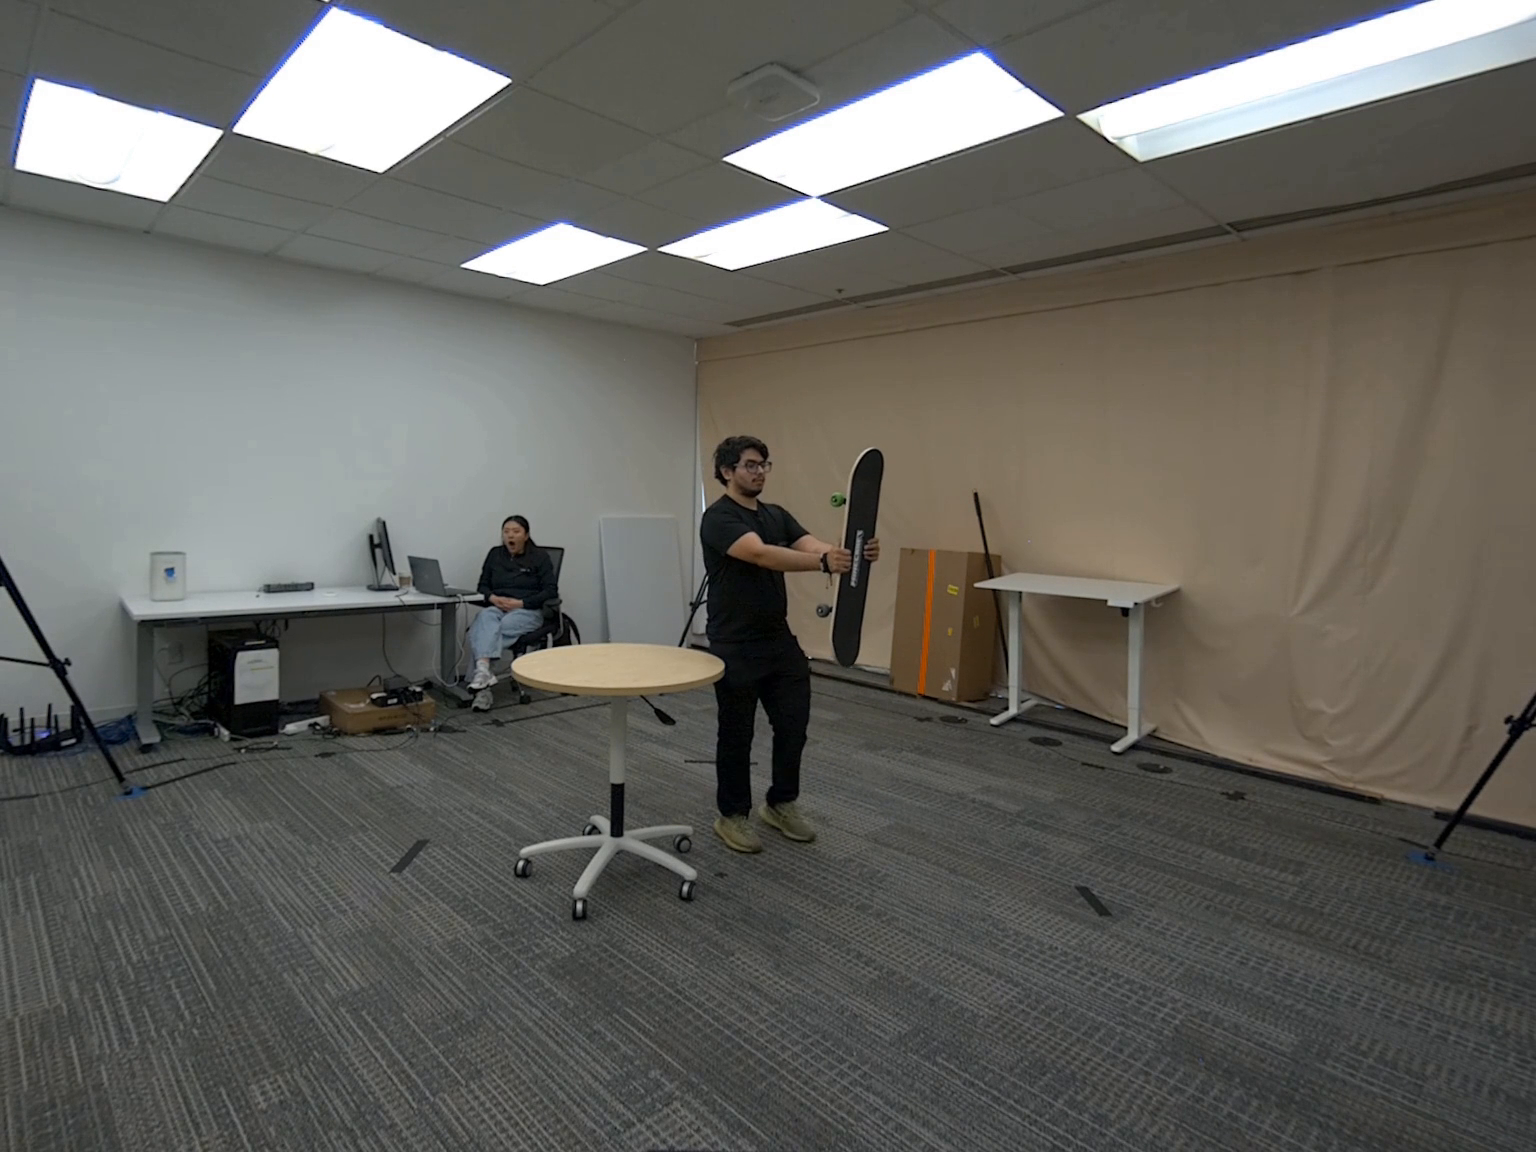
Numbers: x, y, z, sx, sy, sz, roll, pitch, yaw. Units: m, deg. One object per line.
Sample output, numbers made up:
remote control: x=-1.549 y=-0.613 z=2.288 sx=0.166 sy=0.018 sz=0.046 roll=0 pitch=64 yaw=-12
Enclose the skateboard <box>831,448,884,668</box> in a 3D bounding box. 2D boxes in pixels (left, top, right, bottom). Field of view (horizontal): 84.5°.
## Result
skateboard: x=0.293 y=-0.064 z=3.025 sx=0.113 sy=0.783 sz=0.189 roll=10 pitch=6 yaw=41
